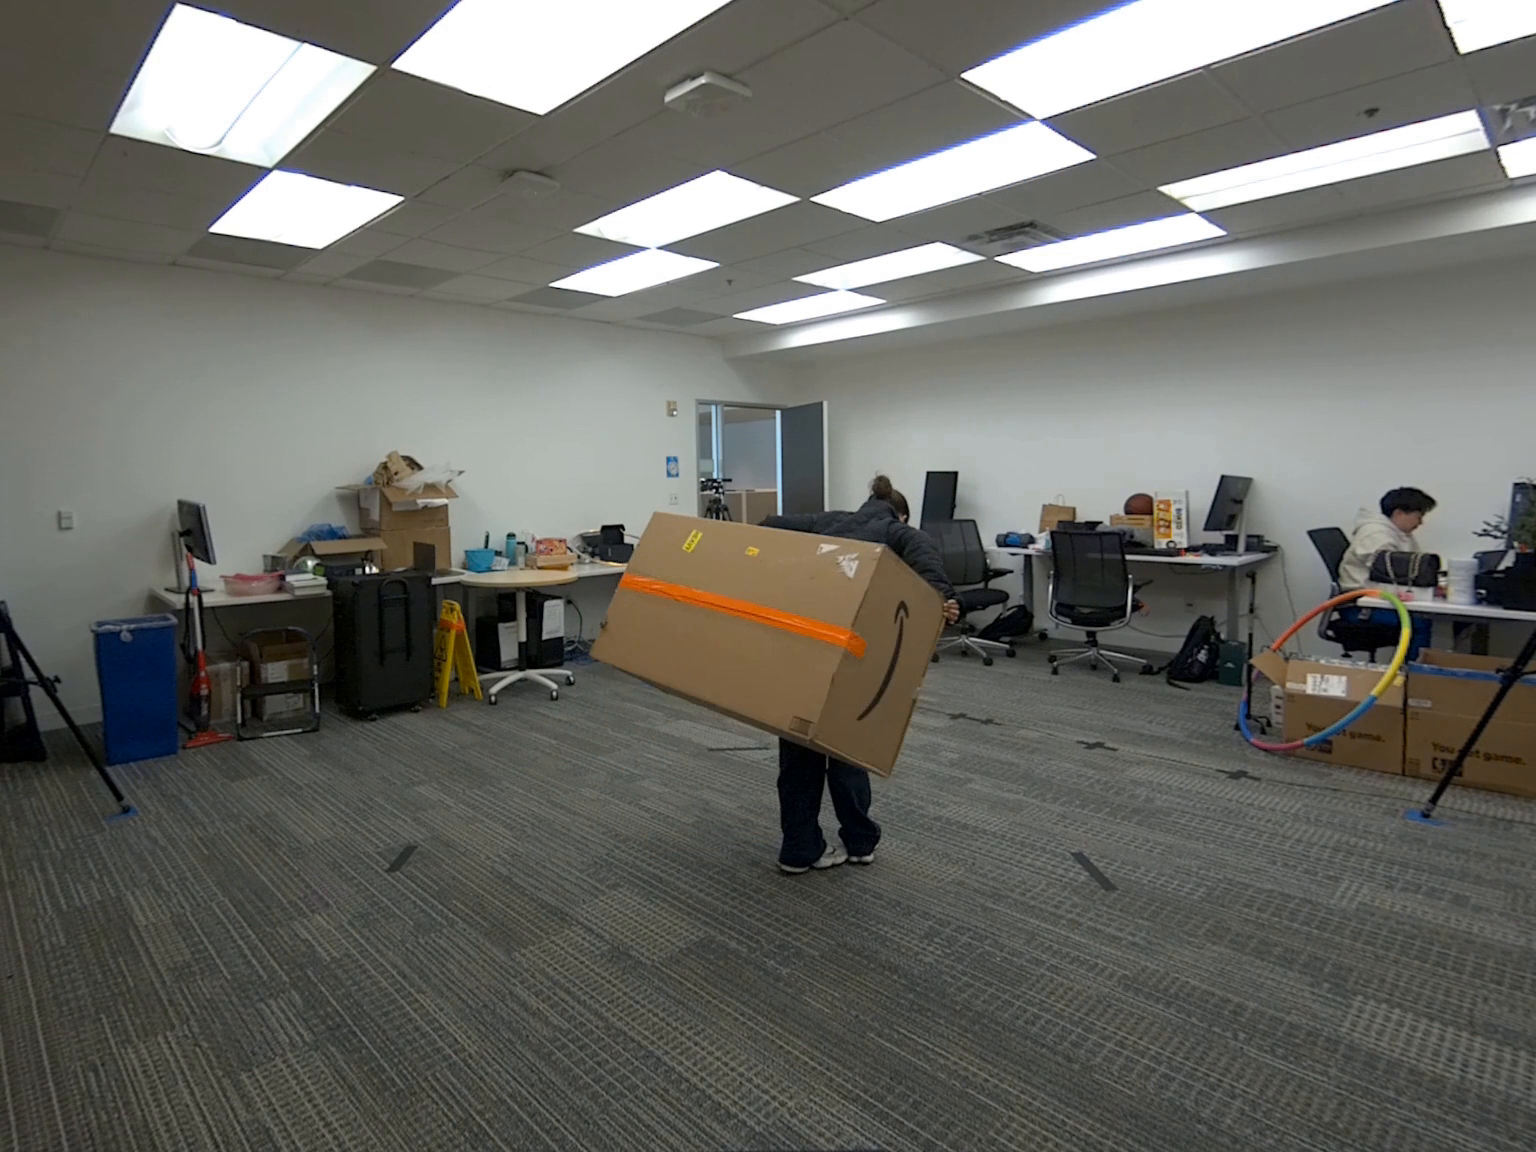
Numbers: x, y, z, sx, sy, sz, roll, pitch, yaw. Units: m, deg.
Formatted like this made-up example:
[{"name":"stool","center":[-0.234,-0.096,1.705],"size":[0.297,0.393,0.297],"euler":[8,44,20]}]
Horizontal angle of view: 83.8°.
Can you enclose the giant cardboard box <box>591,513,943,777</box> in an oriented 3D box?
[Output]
[{"name":"giant cardboard box","center":[-0.035,0.181,2.817],"size":[1.060,0.581,0.410],"euler":[11,-17,45]}]
